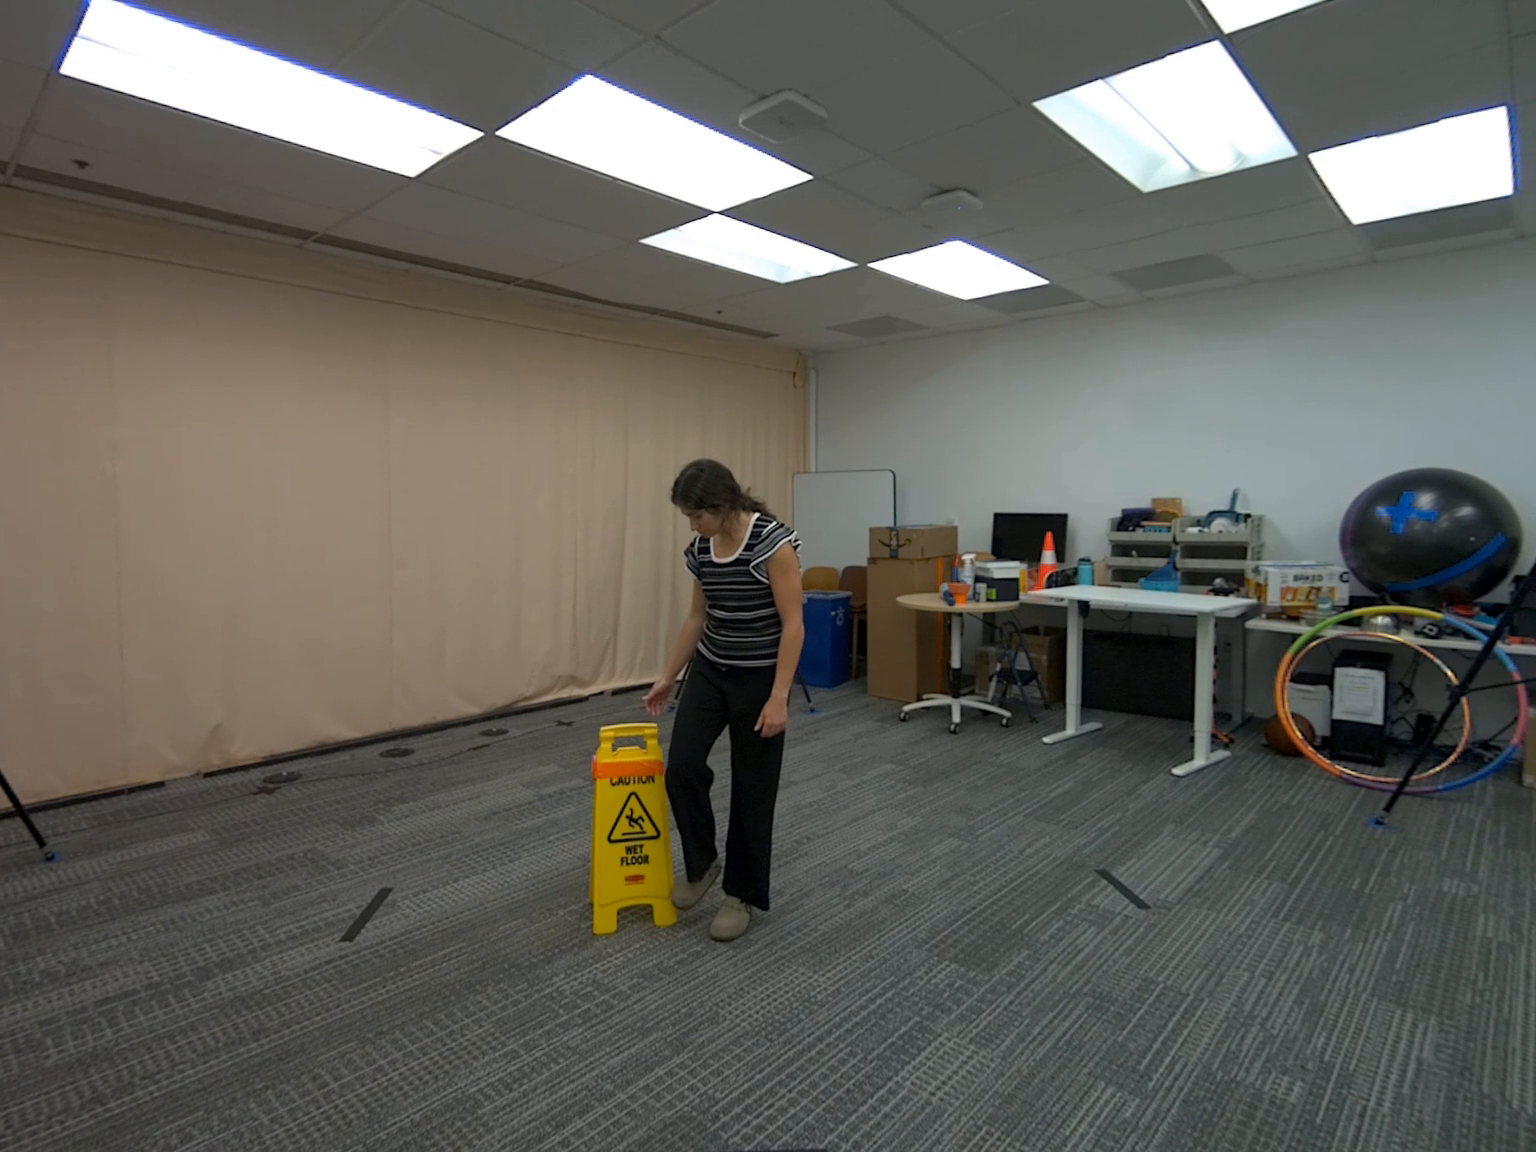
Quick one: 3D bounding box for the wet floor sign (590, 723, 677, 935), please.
[{"bbox_3d":[-0.476,0.833,2.871,0.279,0.645,0.293,-1,2,-11],"label":"wet floor sign"}]
